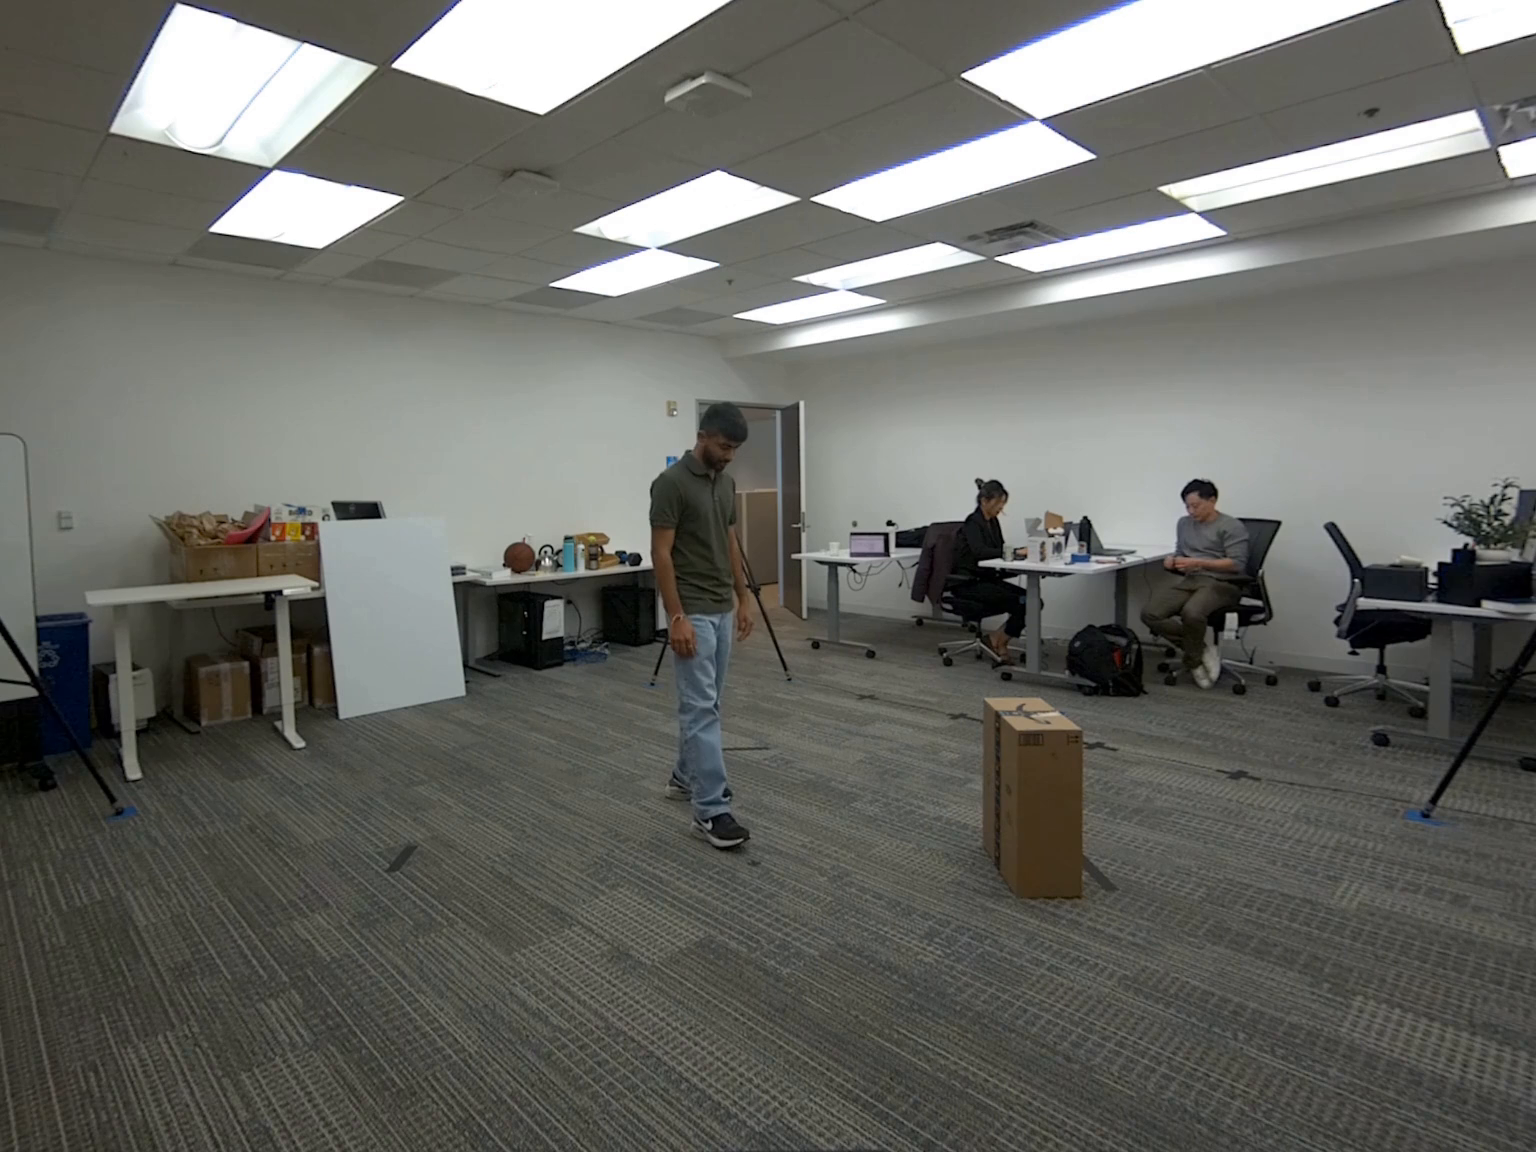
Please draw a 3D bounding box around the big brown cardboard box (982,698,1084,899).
[{"bbox_3d":[0.920,0.760,2.994,0.233,0.586,0.419,-2,5,0],"label":"big brown cardboard box"}]
